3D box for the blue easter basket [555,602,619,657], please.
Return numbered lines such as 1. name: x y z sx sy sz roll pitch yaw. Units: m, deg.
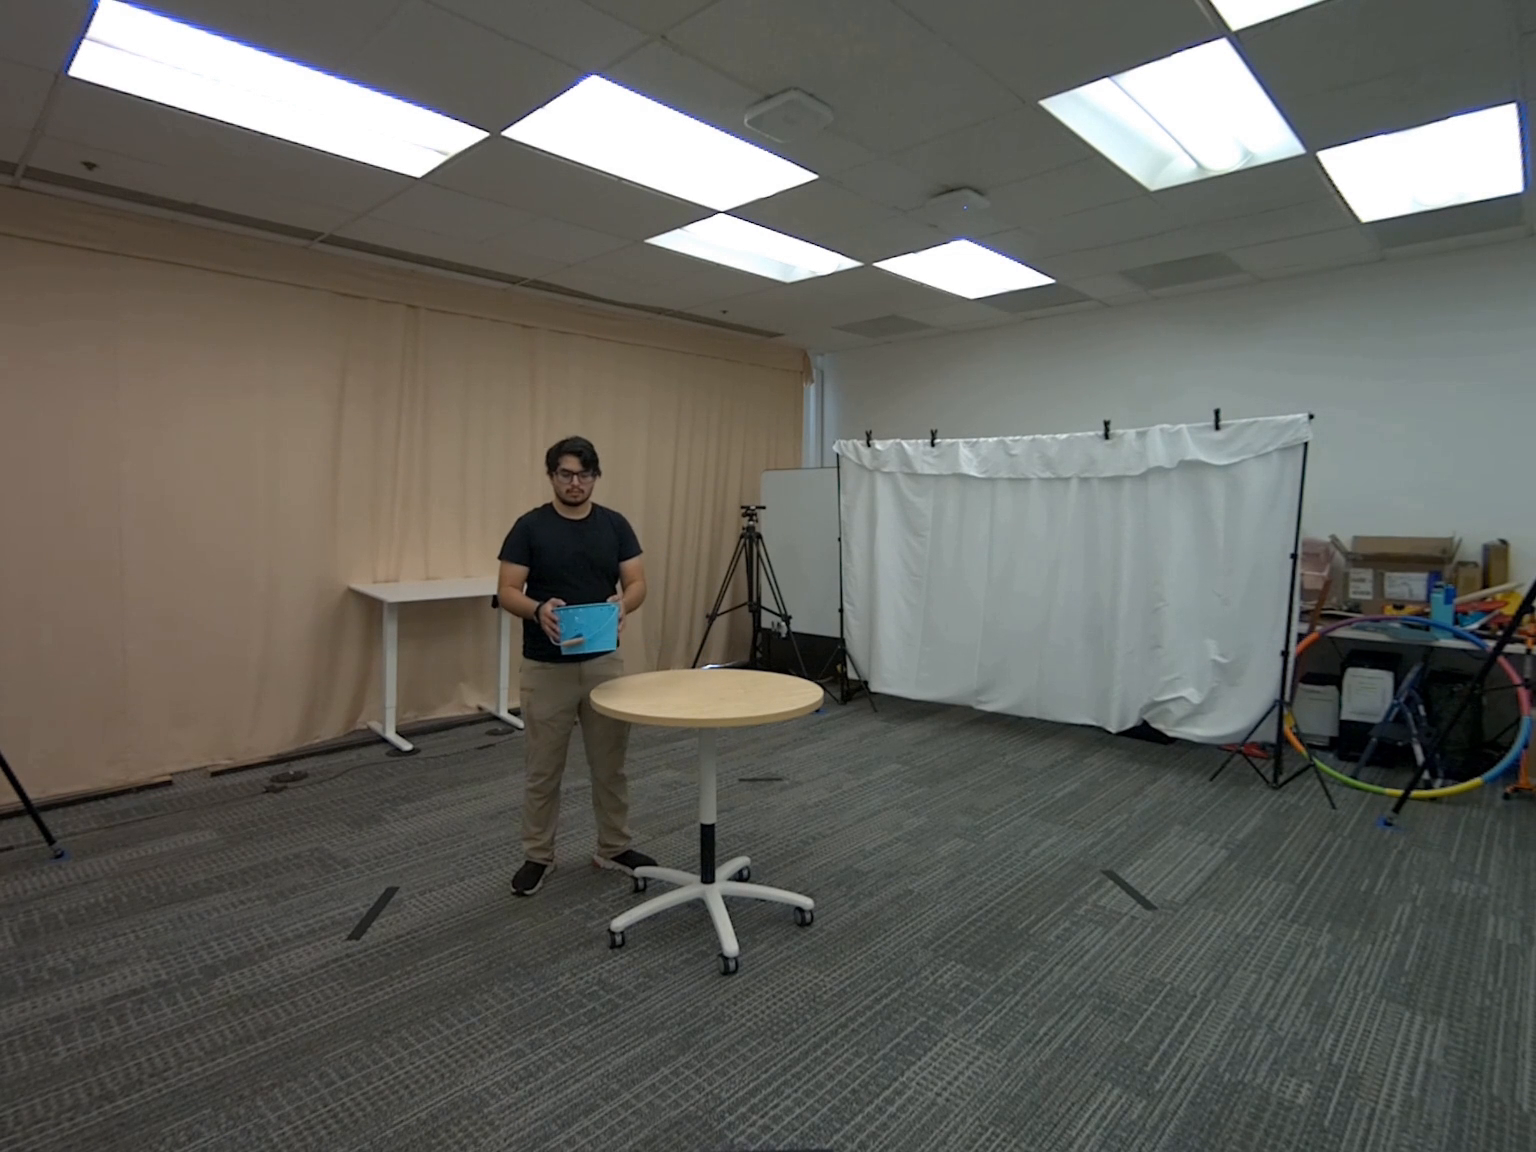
1. blue easter basket: -0.606 0.180 2.794 0.243 0.156 0.243 -4 -3 -2
